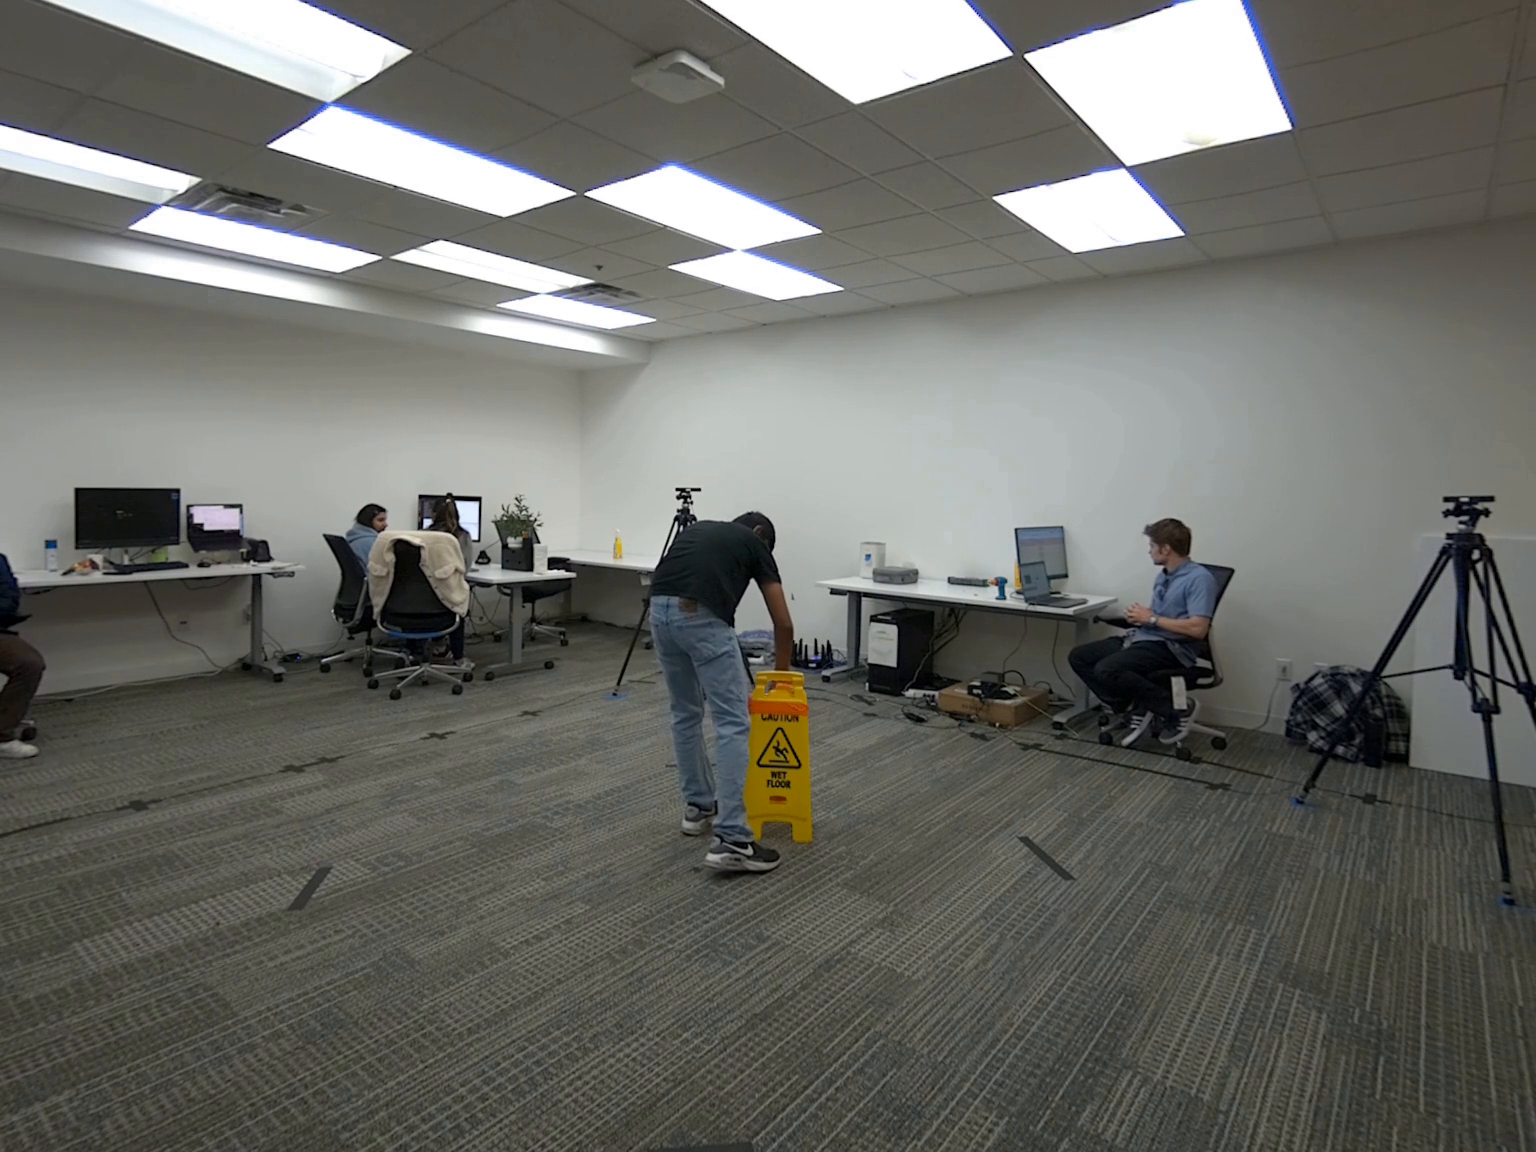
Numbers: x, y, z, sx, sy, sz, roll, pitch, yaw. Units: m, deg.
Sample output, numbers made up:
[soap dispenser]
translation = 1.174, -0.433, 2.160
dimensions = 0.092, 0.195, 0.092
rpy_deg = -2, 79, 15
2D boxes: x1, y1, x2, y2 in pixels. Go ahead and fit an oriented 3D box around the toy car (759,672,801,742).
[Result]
[toy car]
translation = 0.047, 0.550, 3.547
dimensions = 0.131, 0.253, 0.083
rpy_deg = 10, 8, 1
